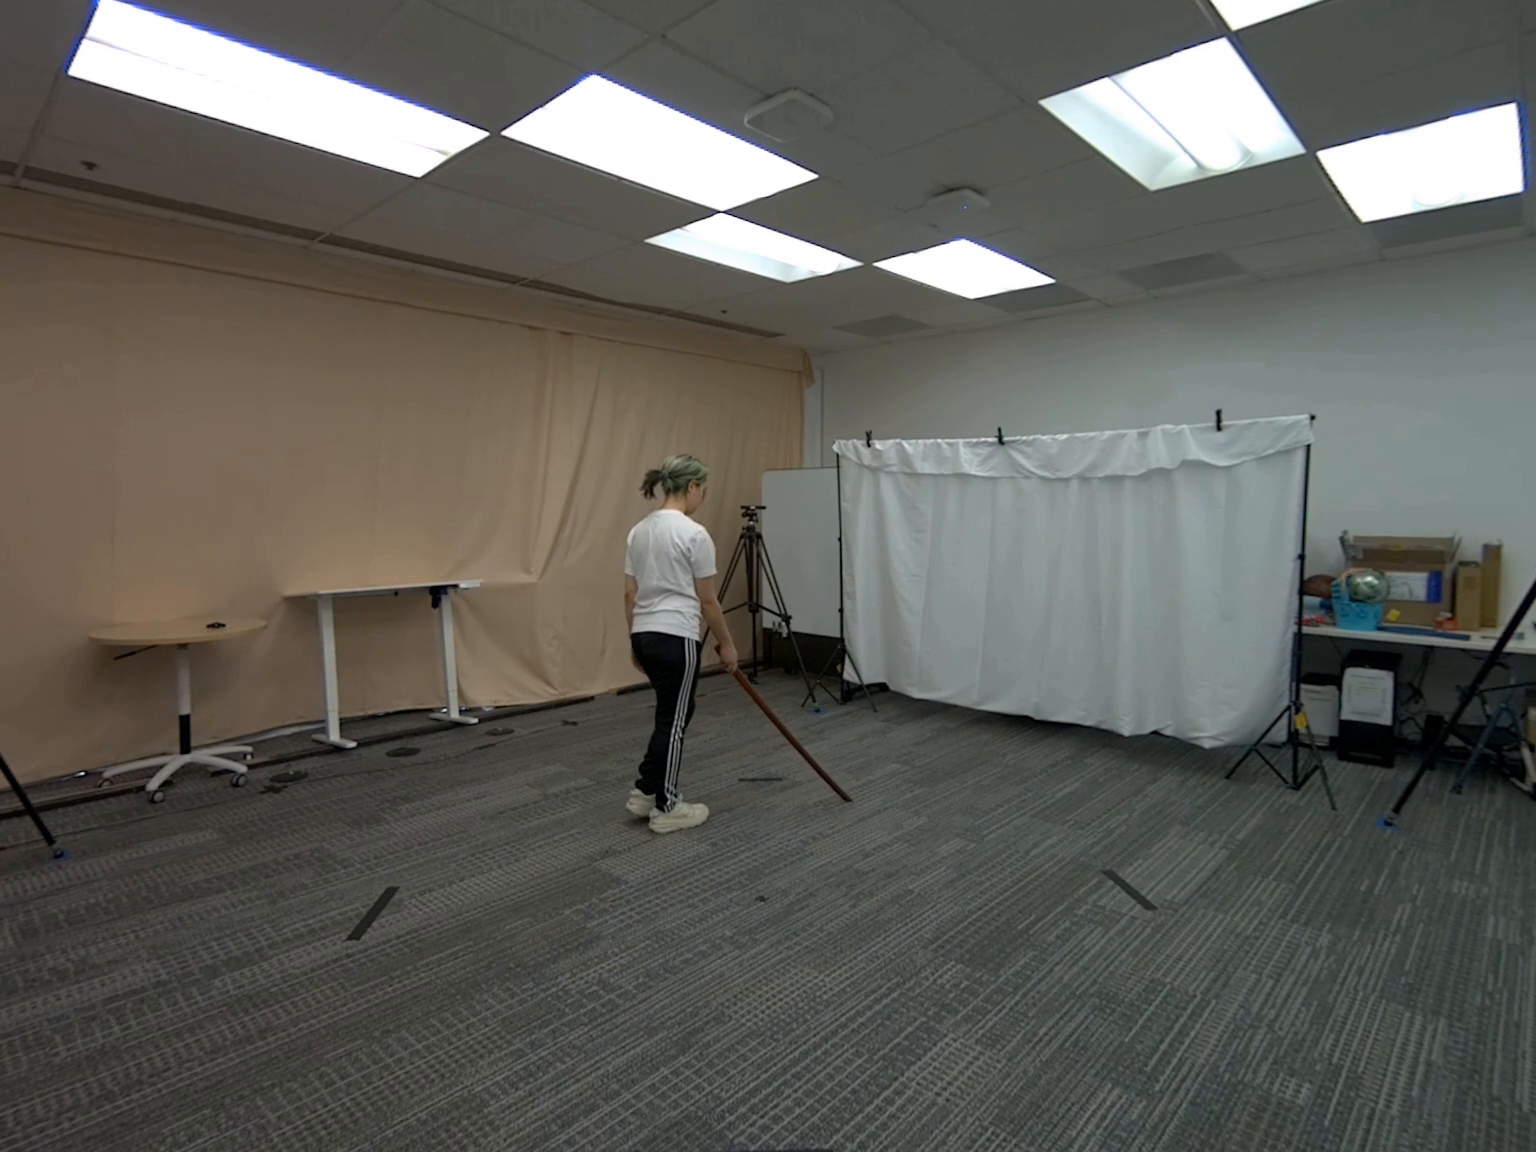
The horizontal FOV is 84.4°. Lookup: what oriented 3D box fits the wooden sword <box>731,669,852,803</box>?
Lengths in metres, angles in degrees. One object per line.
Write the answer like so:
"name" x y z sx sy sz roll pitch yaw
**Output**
"wooden sword" 0.074 0.692 3.845 0.051 1.006 0.024 -41 17 -6
